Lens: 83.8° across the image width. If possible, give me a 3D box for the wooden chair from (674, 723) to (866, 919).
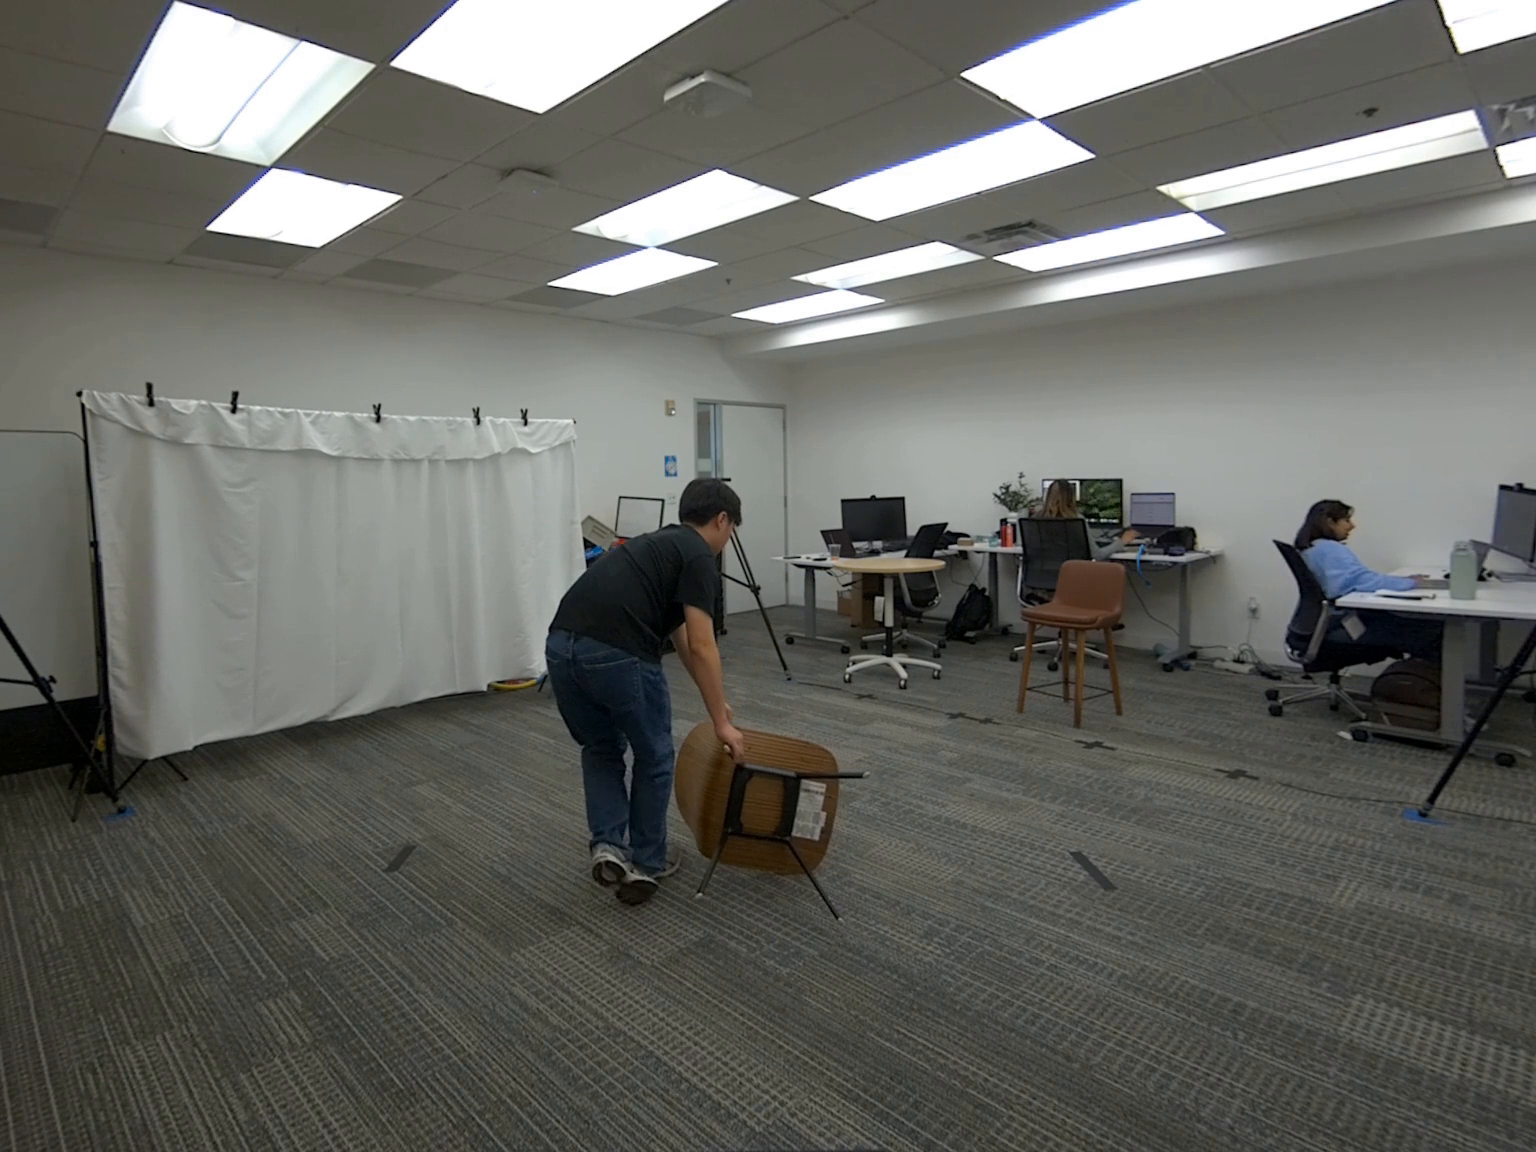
[{"bbox_3d":[-0.008,0.794,2.985,0.517,0.480,0.884,12,-5,-12],"label":"wooden chair"}]
